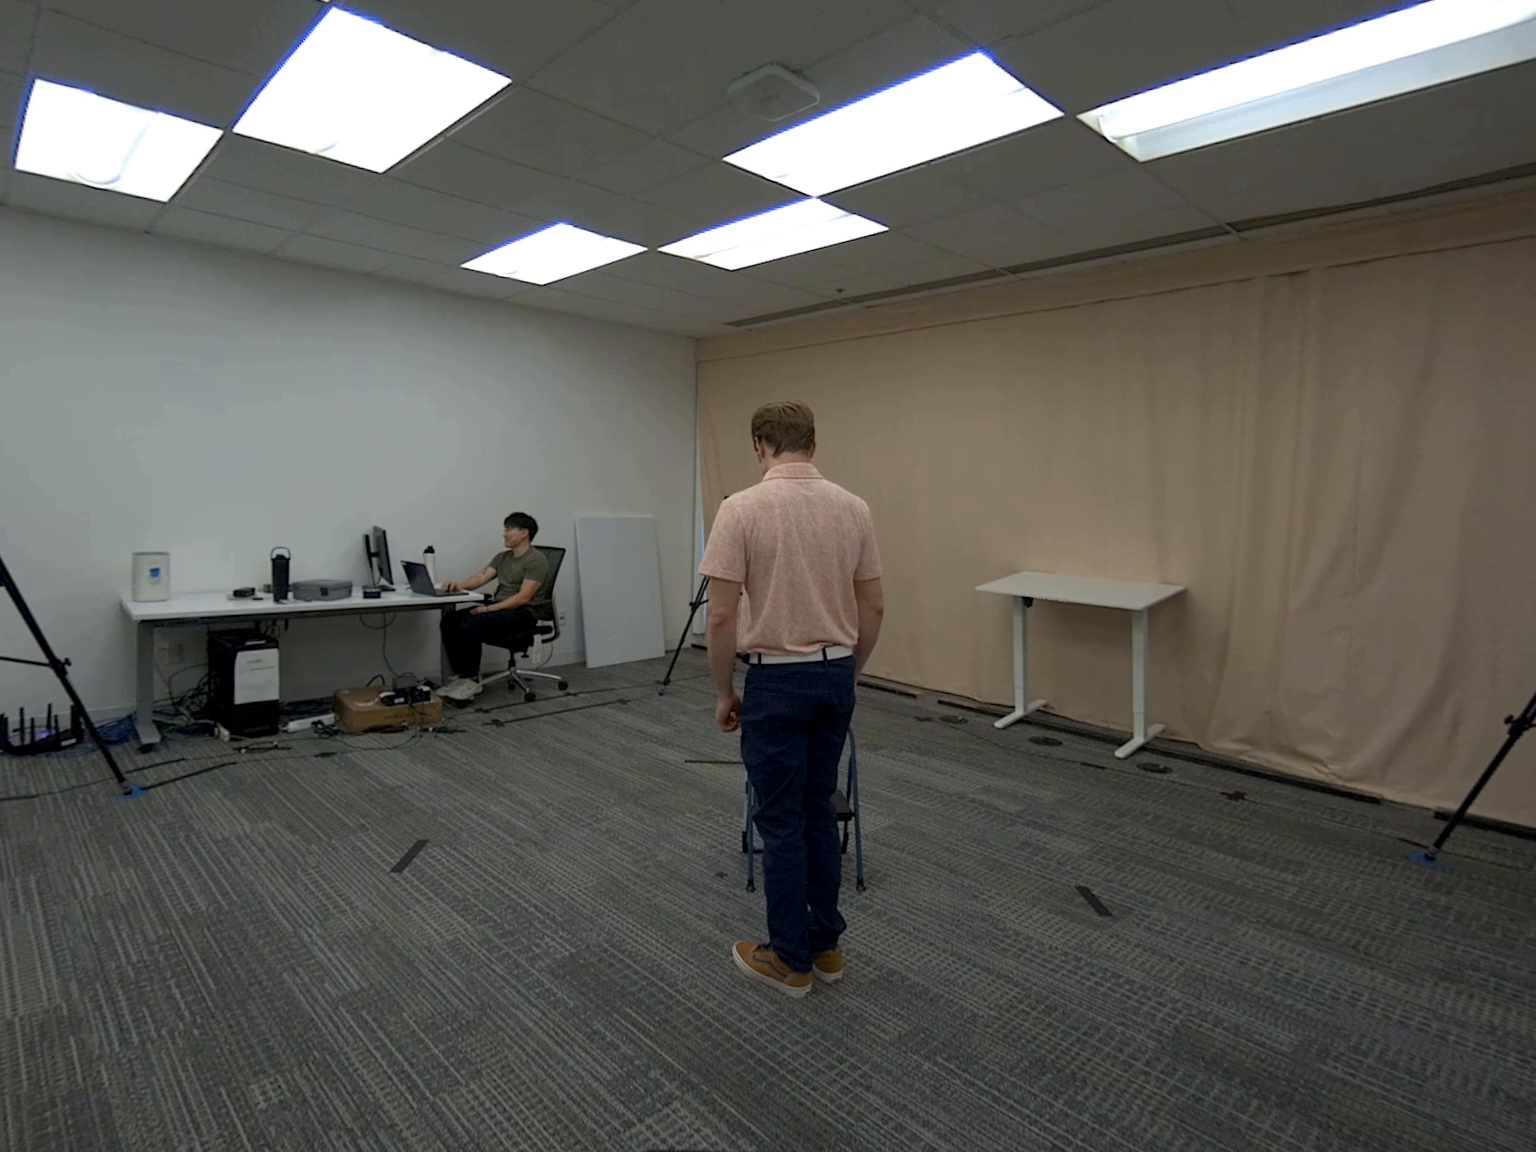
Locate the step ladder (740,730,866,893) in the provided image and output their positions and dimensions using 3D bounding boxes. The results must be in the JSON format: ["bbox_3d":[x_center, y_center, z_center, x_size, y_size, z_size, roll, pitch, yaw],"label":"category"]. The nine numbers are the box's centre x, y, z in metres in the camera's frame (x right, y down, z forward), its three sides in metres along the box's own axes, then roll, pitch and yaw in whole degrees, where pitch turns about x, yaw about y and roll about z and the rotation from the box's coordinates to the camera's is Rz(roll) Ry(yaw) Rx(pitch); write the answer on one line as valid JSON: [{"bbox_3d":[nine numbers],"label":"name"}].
[{"bbox_3d":[0.126,0.807,3.148,0.429,0.605,0.351,2,3,-5],"label":"step ladder"}]
